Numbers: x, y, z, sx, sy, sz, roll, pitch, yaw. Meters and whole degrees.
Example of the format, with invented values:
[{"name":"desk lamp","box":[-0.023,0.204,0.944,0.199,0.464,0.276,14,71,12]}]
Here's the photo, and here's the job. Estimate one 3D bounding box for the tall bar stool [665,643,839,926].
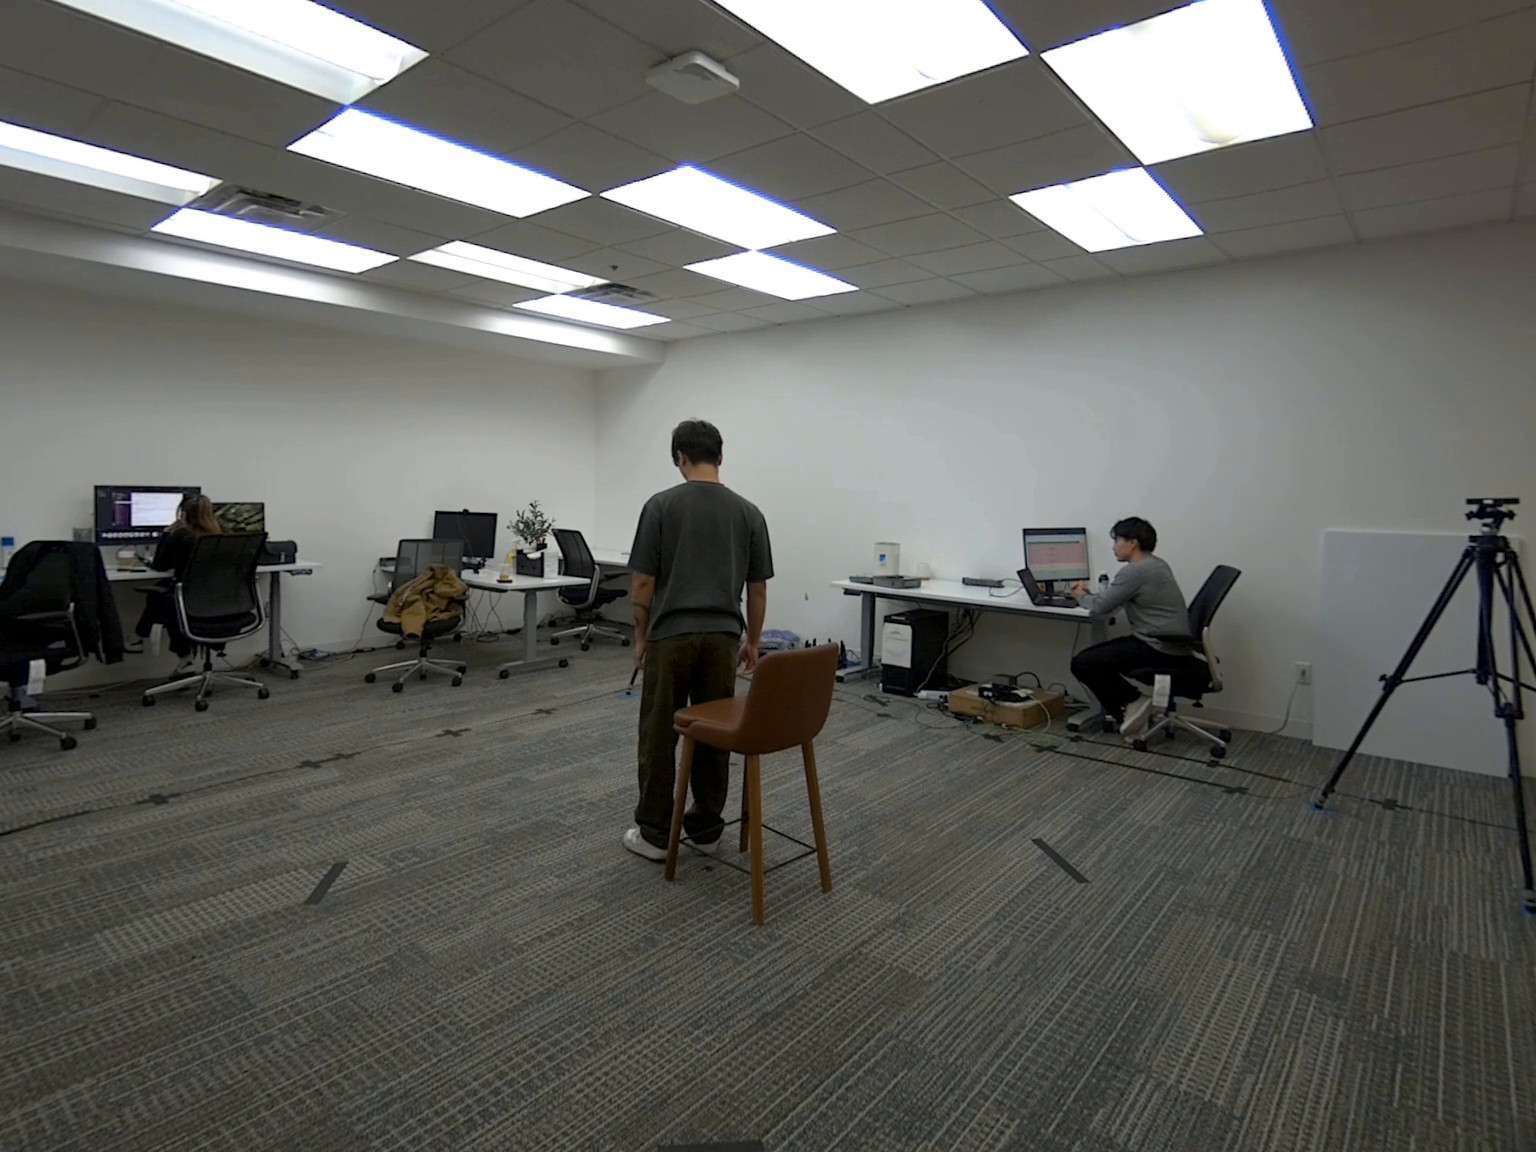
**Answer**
[{"name":"tall bar stool","box":[-0.057,0.645,2.962,0.484,0.887,0.442,6,5,44]}]
